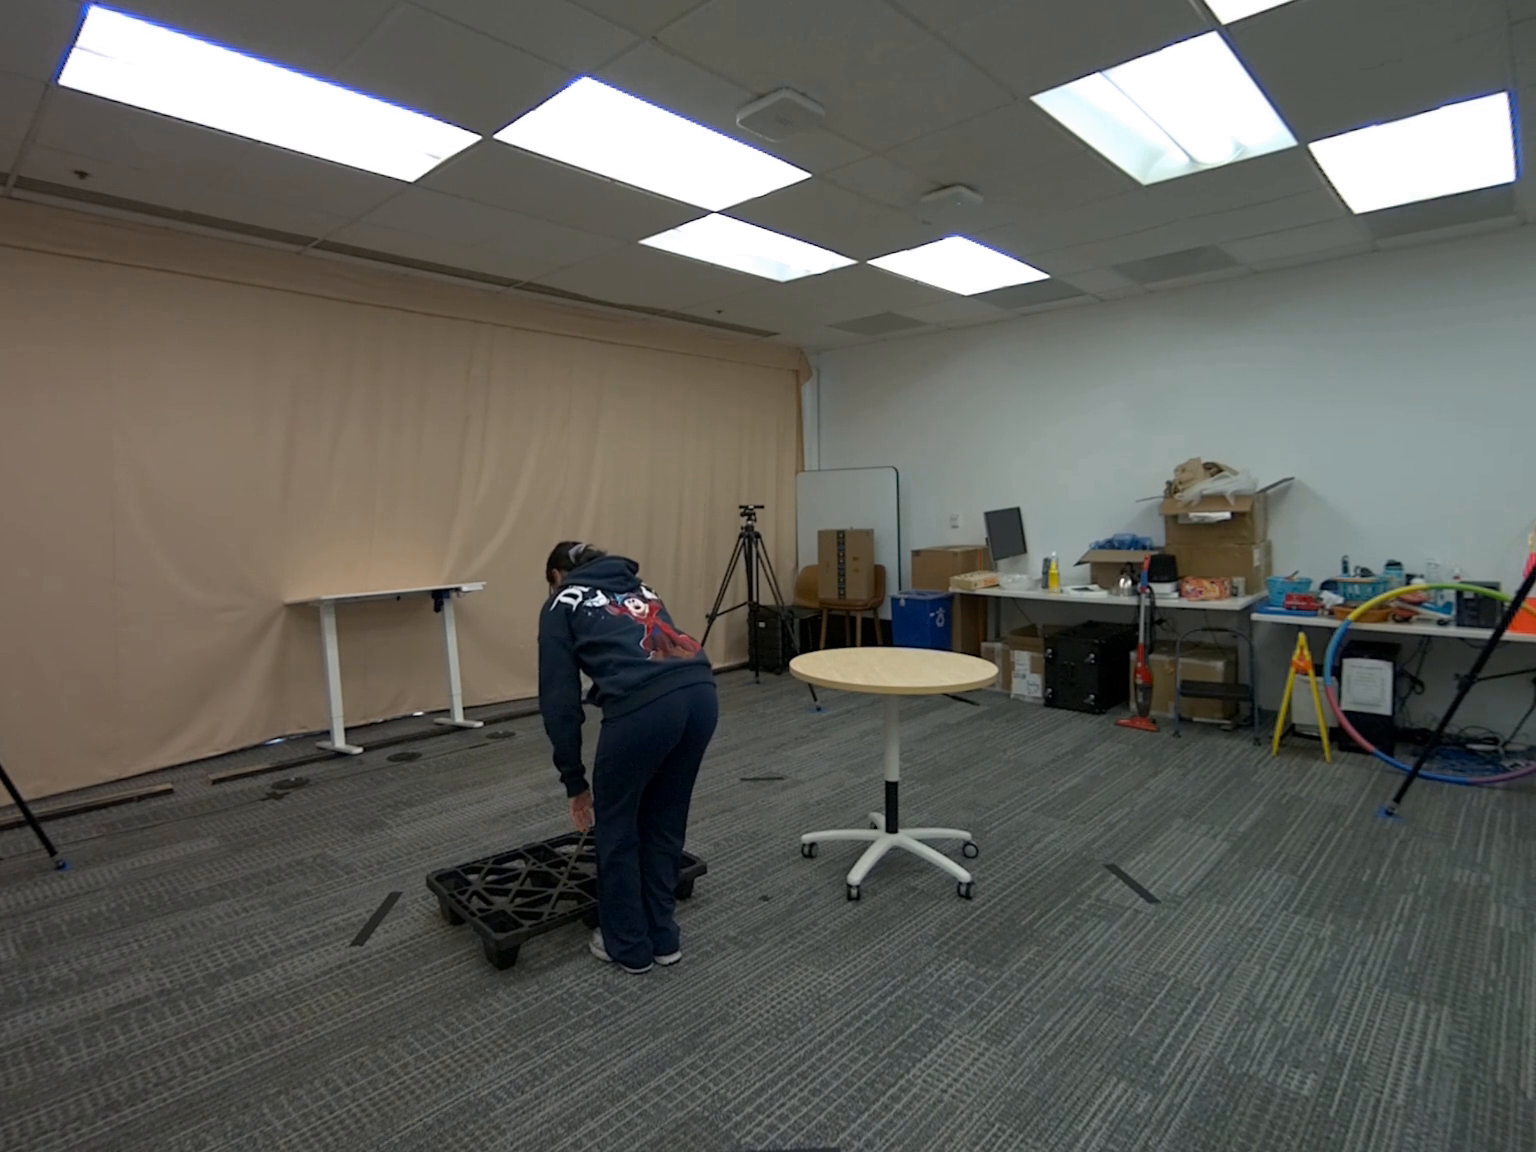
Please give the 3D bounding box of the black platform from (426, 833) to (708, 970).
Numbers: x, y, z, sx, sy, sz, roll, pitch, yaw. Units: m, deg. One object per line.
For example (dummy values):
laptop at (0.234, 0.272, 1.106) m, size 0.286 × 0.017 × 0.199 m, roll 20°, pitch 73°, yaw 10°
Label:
black platform at (-0.697, 1.095, 2.955) m, size 0.782 × 0.143 × 0.625 m, roll -6°, pitch 7°, yaw -40°
